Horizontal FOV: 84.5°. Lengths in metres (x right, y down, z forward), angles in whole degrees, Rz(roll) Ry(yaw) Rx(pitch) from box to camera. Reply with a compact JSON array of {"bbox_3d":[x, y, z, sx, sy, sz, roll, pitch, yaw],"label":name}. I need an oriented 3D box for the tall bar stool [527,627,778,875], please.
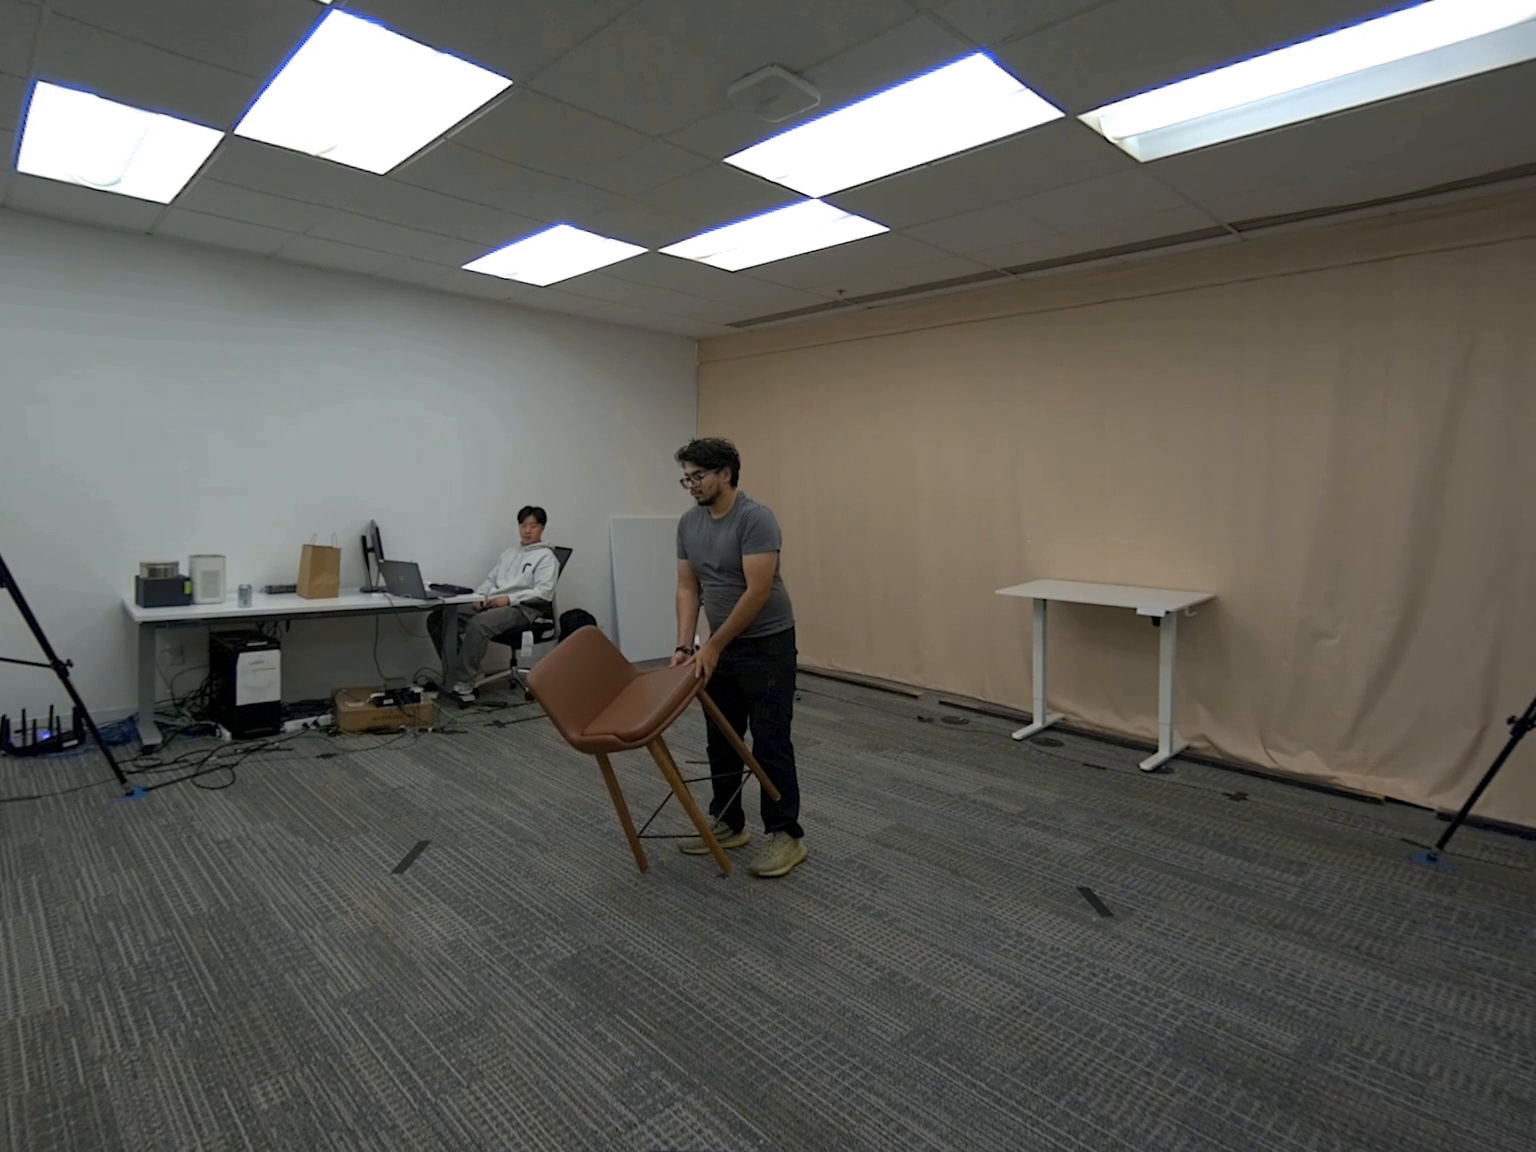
[{"bbox_3d":[-0.419,0.596,3.038,0.474,0.879,0.455,-19,15,38],"label":"tall bar stool"}]
